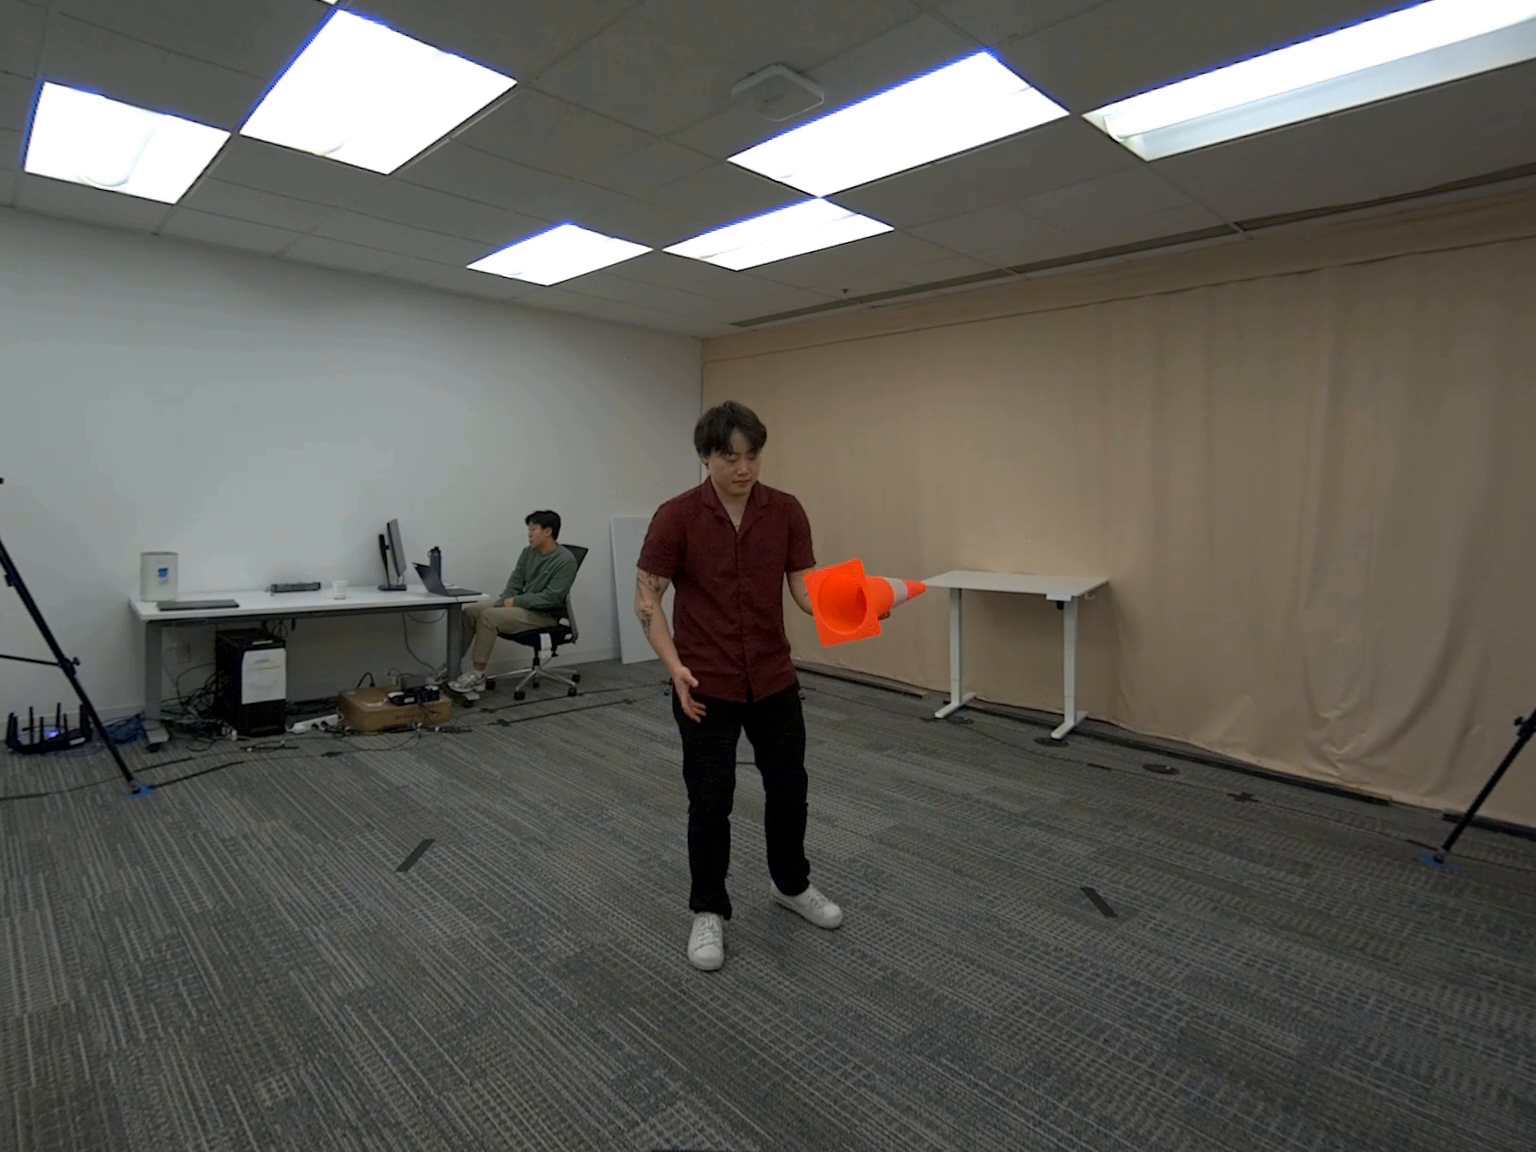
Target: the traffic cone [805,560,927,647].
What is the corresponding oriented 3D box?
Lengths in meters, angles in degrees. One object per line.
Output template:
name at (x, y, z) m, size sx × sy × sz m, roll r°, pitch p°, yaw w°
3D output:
traffic cone at (0.309, 0.055, 2.286) m, size 0.376 × 0.206 × 0.206 m, roll -9°, pitch -9°, yaw -44°
